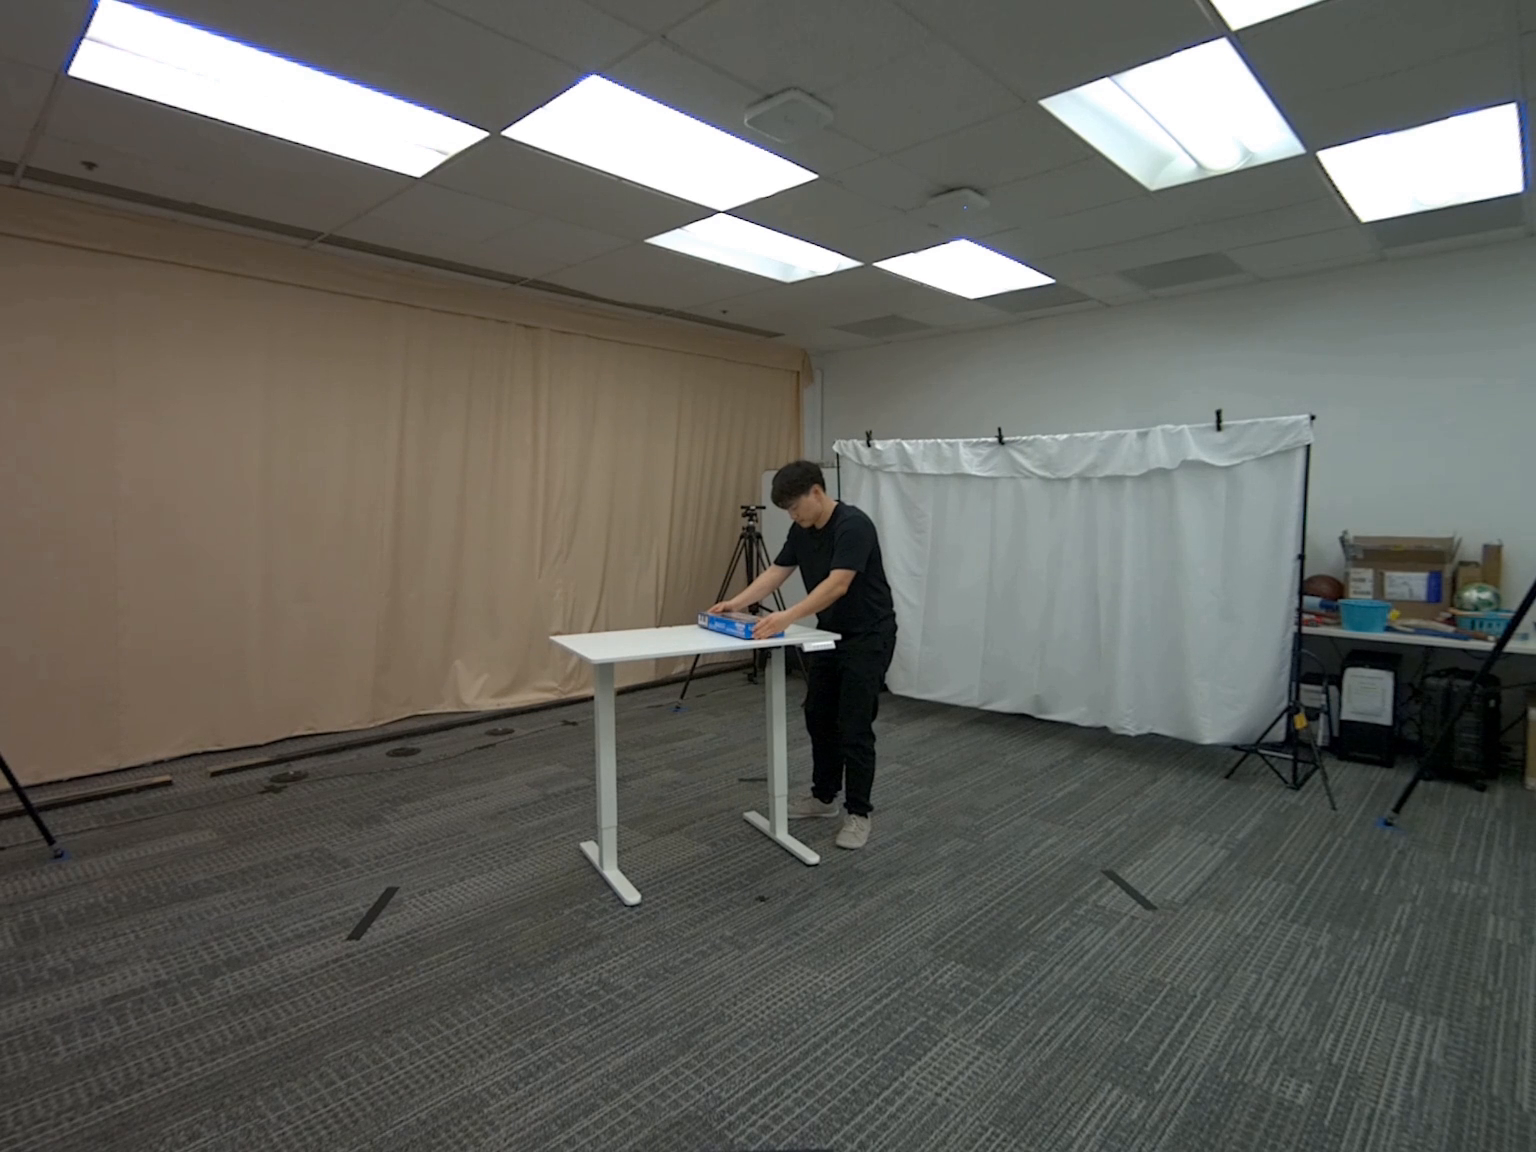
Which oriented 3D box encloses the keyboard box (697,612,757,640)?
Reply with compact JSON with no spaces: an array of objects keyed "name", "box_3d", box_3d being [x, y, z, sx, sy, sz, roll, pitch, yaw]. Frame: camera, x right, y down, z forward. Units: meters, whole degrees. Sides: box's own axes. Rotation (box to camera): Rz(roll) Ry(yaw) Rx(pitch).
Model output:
[{"name":"keyboard box","box_3d":[-0.111,0.196,3.417,0.172,0.059,0.448,-2,5,-23]}]
